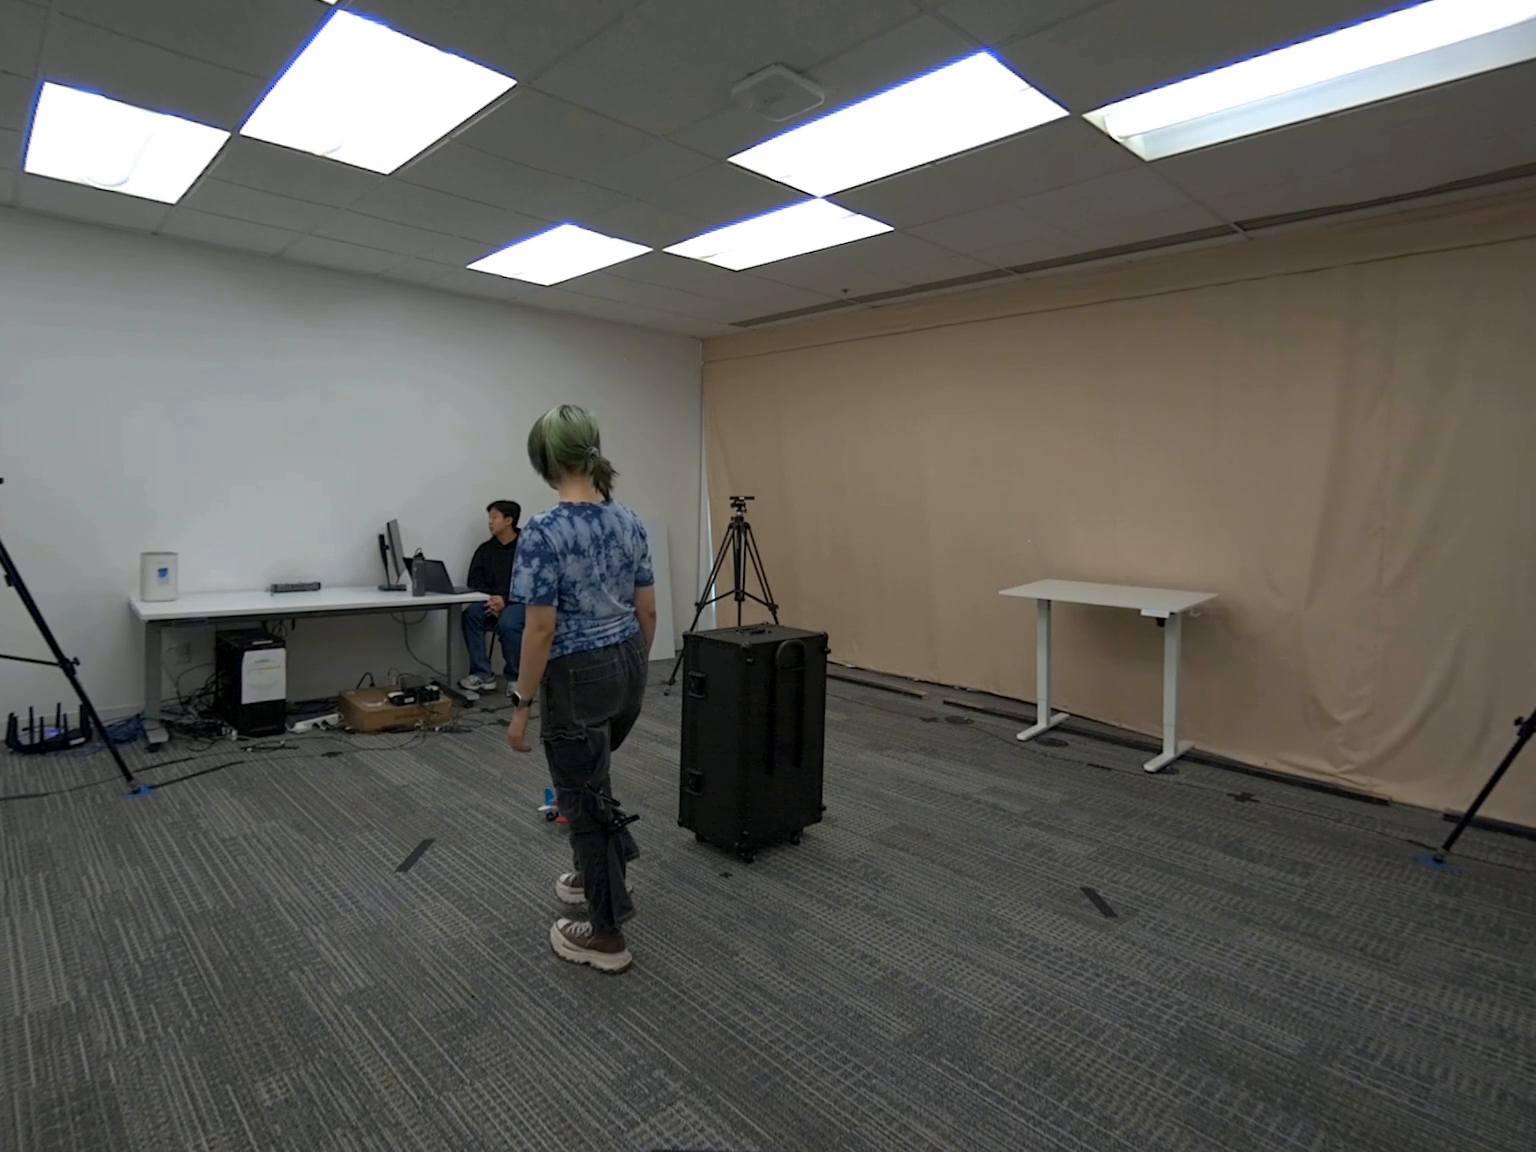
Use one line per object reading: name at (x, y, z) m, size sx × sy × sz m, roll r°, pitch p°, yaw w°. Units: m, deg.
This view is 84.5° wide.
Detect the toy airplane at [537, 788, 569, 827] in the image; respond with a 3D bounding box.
toy airplane at (-0.836, 0.969, 3.538) m, size 0.259 × 0.156 × 0.252 m, roll 3°, pitch 5°, yaw -3°
